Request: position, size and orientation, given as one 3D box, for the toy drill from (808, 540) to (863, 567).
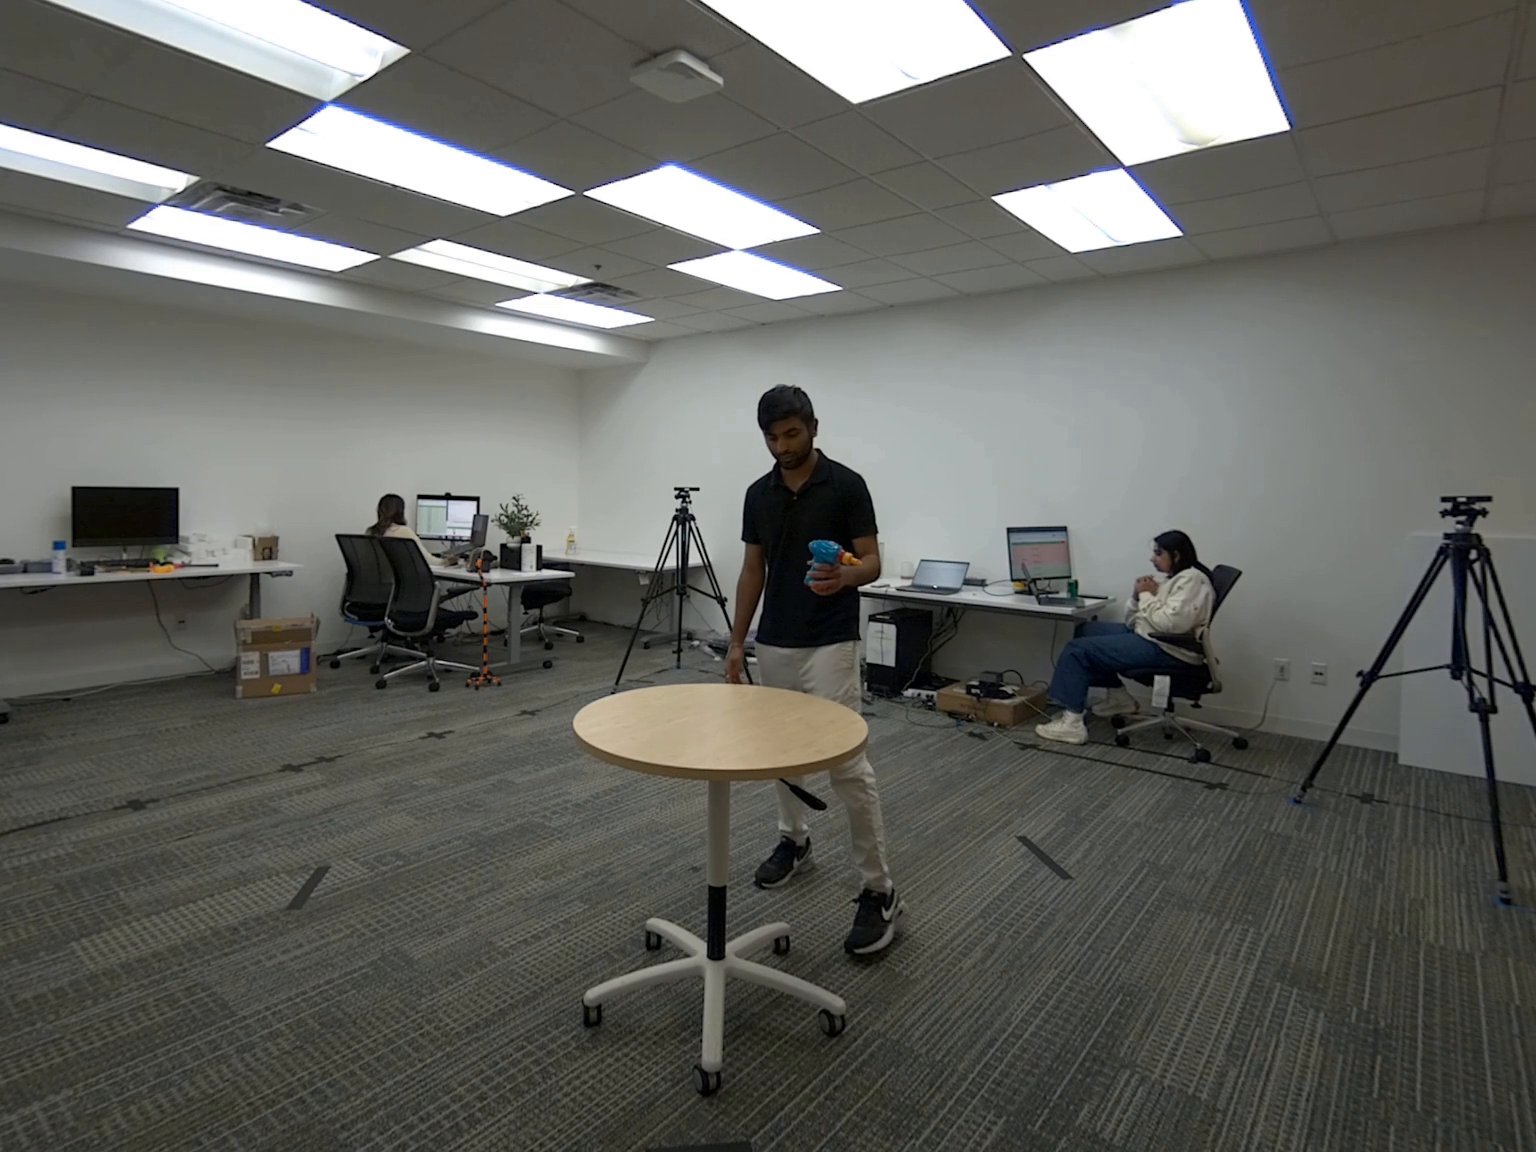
[{"bbox_3d":[0.175,-0.029,2.455,0.175,0.144,0.060,23,22,26],"label":"toy drill"}]
